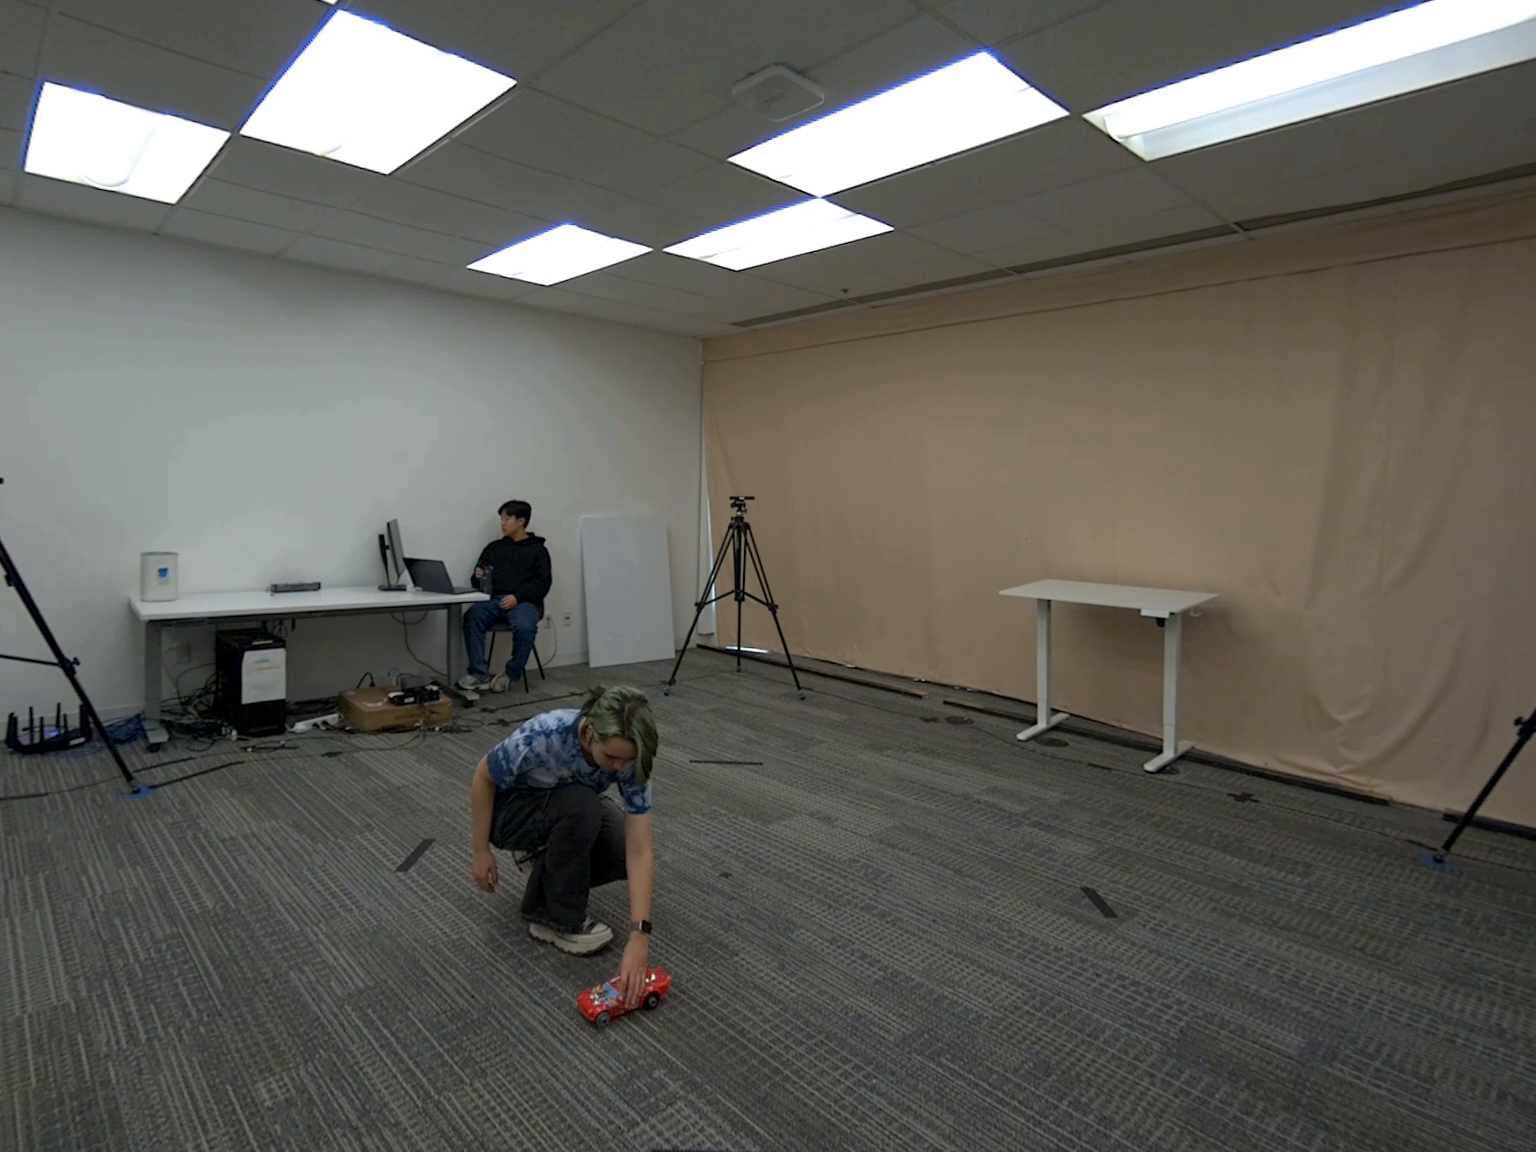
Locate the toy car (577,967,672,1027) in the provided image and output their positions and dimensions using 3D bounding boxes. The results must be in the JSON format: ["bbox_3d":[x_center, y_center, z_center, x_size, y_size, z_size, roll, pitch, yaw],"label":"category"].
[{"bbox_3d":[-0.390,1.144,2.291,0.250,0.082,0.133,-16,13,-33],"label":"toy car"}]
